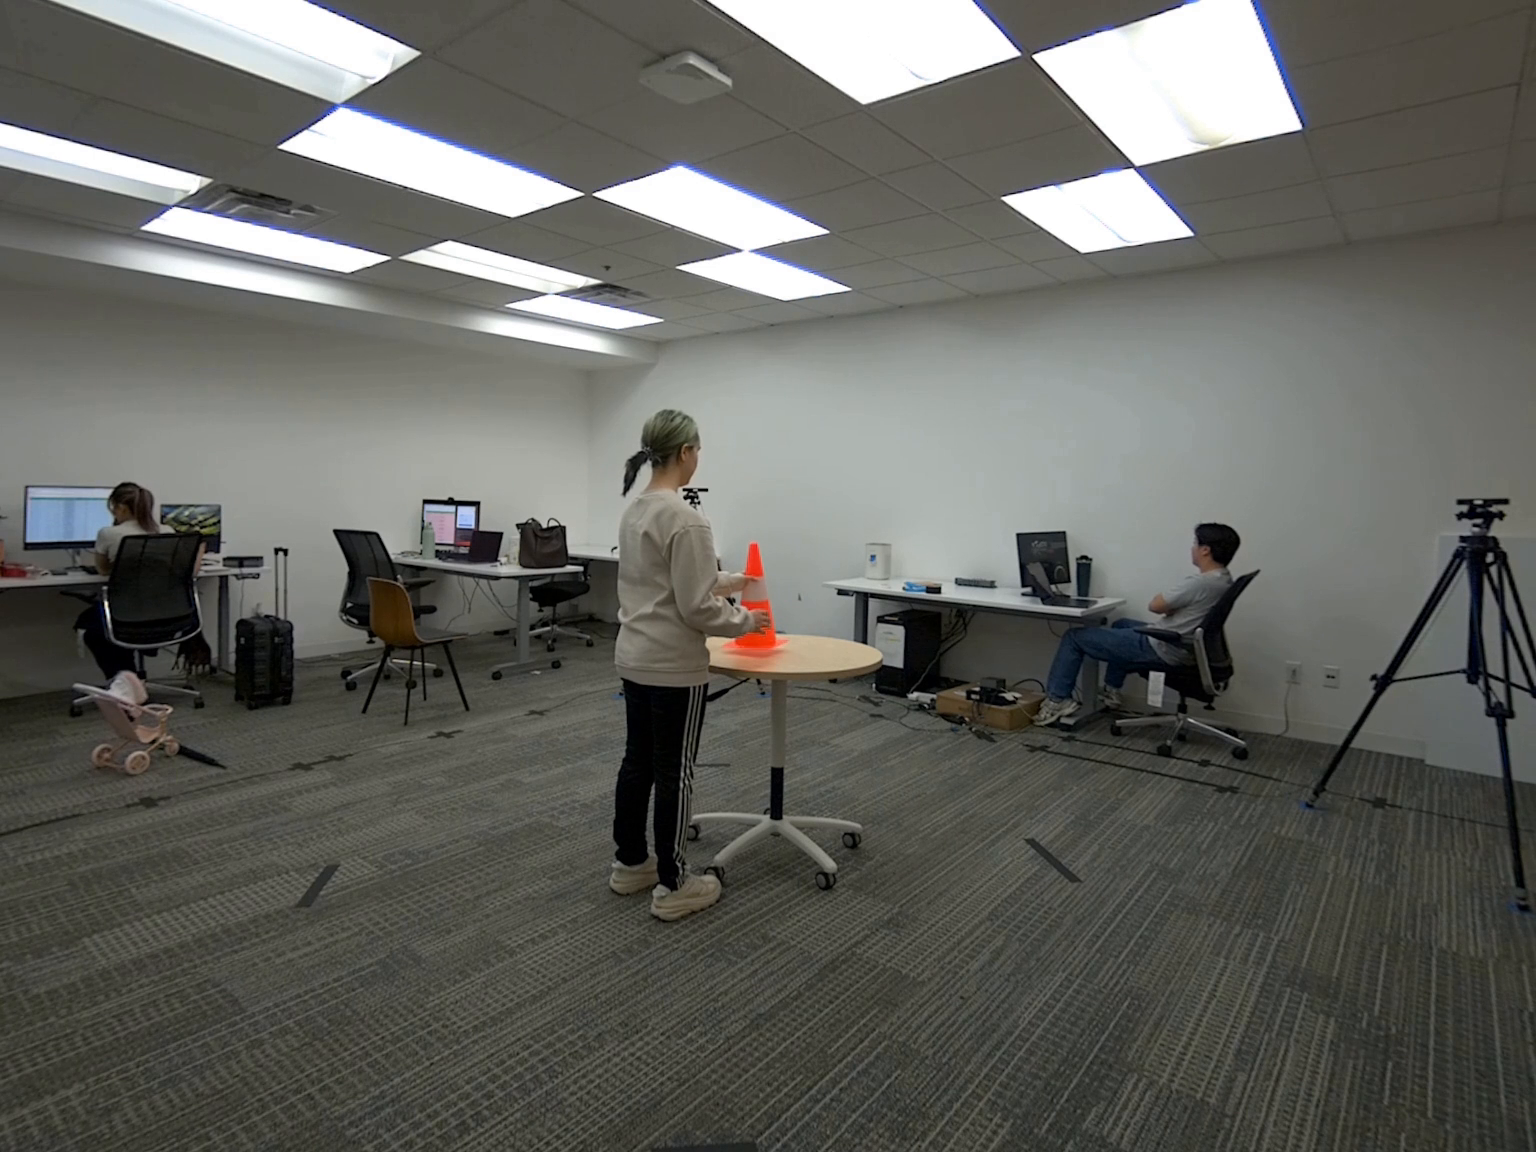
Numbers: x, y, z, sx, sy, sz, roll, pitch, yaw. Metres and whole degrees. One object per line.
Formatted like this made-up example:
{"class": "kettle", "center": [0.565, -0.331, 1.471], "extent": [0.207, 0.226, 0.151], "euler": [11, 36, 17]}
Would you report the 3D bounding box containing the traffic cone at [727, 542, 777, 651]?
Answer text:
{"class": "traffic cone", "center": [-0.063, 0.061, 3.171], "extent": [0.210, 0.381, 0.199], "euler": [2, 7, 25]}
